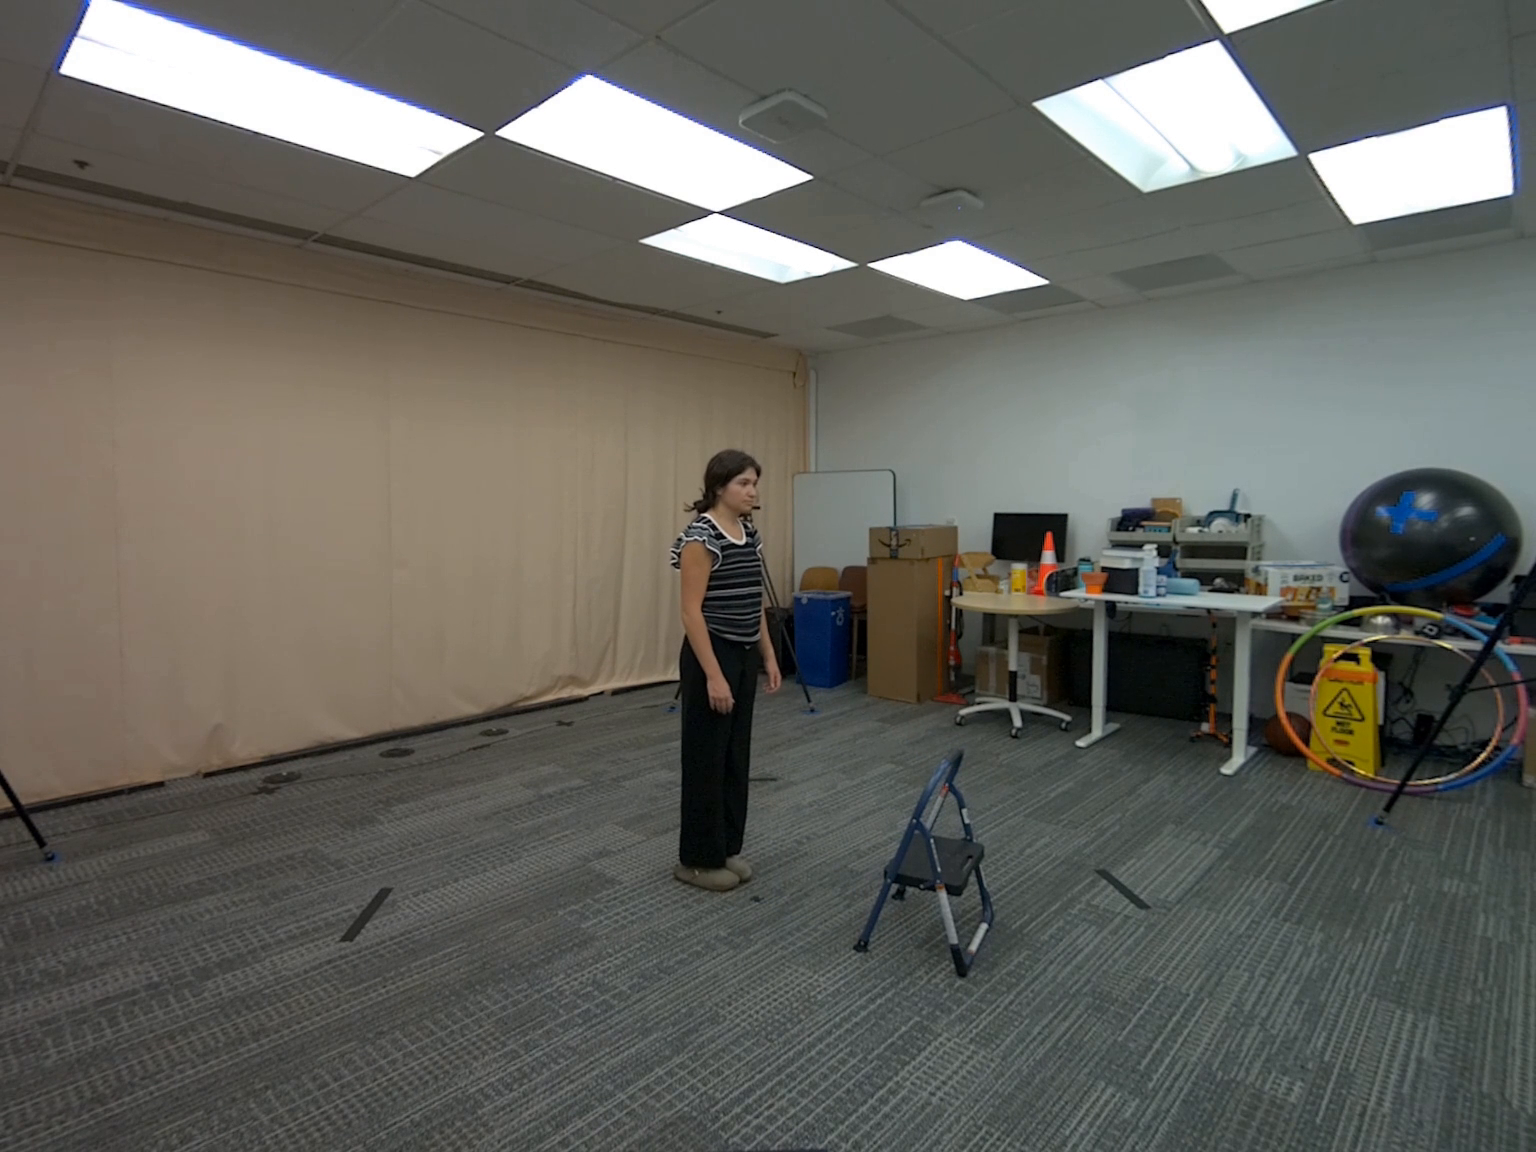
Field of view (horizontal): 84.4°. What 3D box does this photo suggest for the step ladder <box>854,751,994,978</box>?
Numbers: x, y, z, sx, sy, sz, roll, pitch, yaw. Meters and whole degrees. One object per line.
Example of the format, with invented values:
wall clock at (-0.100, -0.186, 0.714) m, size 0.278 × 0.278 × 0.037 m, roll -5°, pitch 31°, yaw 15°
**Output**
step ladder at (0.521, 0.863, 2.720) m, size 0.359 × 0.605 × 0.420 m, roll 1°, pitch 4°, yaw 27°
